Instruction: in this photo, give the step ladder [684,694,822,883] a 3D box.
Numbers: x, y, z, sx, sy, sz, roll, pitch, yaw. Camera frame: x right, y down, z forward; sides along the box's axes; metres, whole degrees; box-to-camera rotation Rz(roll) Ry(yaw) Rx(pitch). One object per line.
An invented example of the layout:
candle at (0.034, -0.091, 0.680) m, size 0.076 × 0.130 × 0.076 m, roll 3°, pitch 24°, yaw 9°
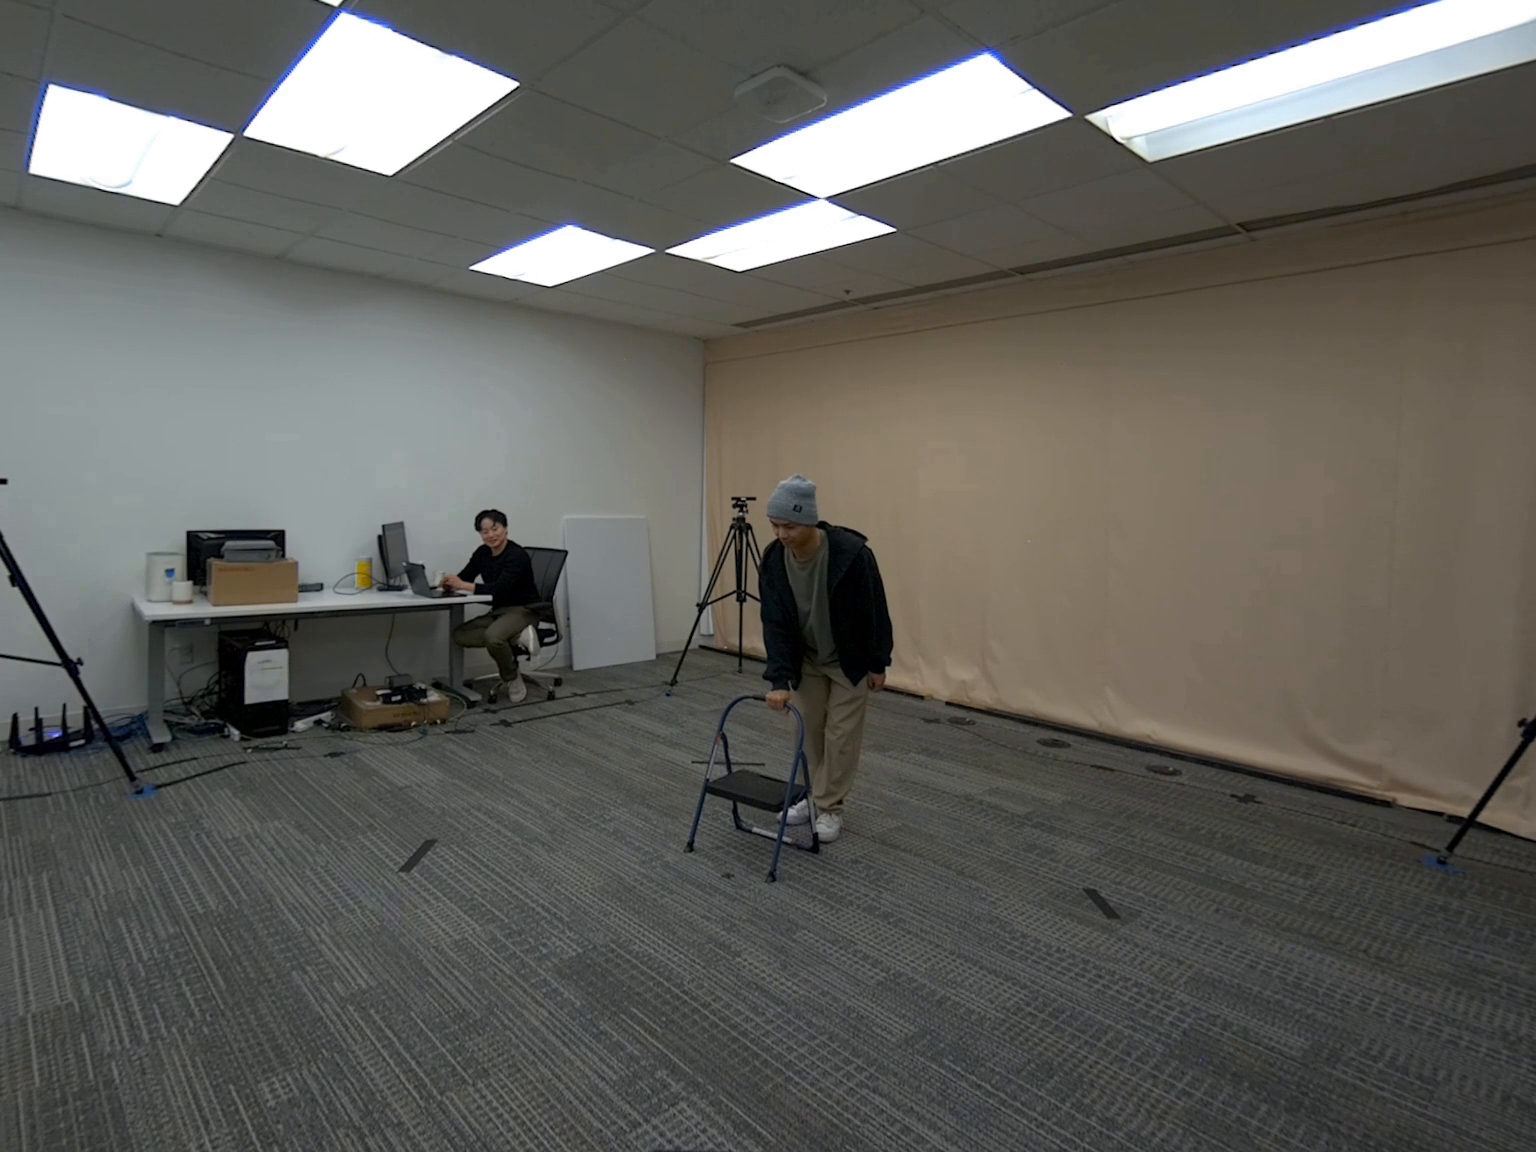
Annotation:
step ladder at (-0.058, 0.787, 3.305) m, size 0.441 × 0.604 × 0.341 m, roll 4°, pitch 4°, yaw 37°
